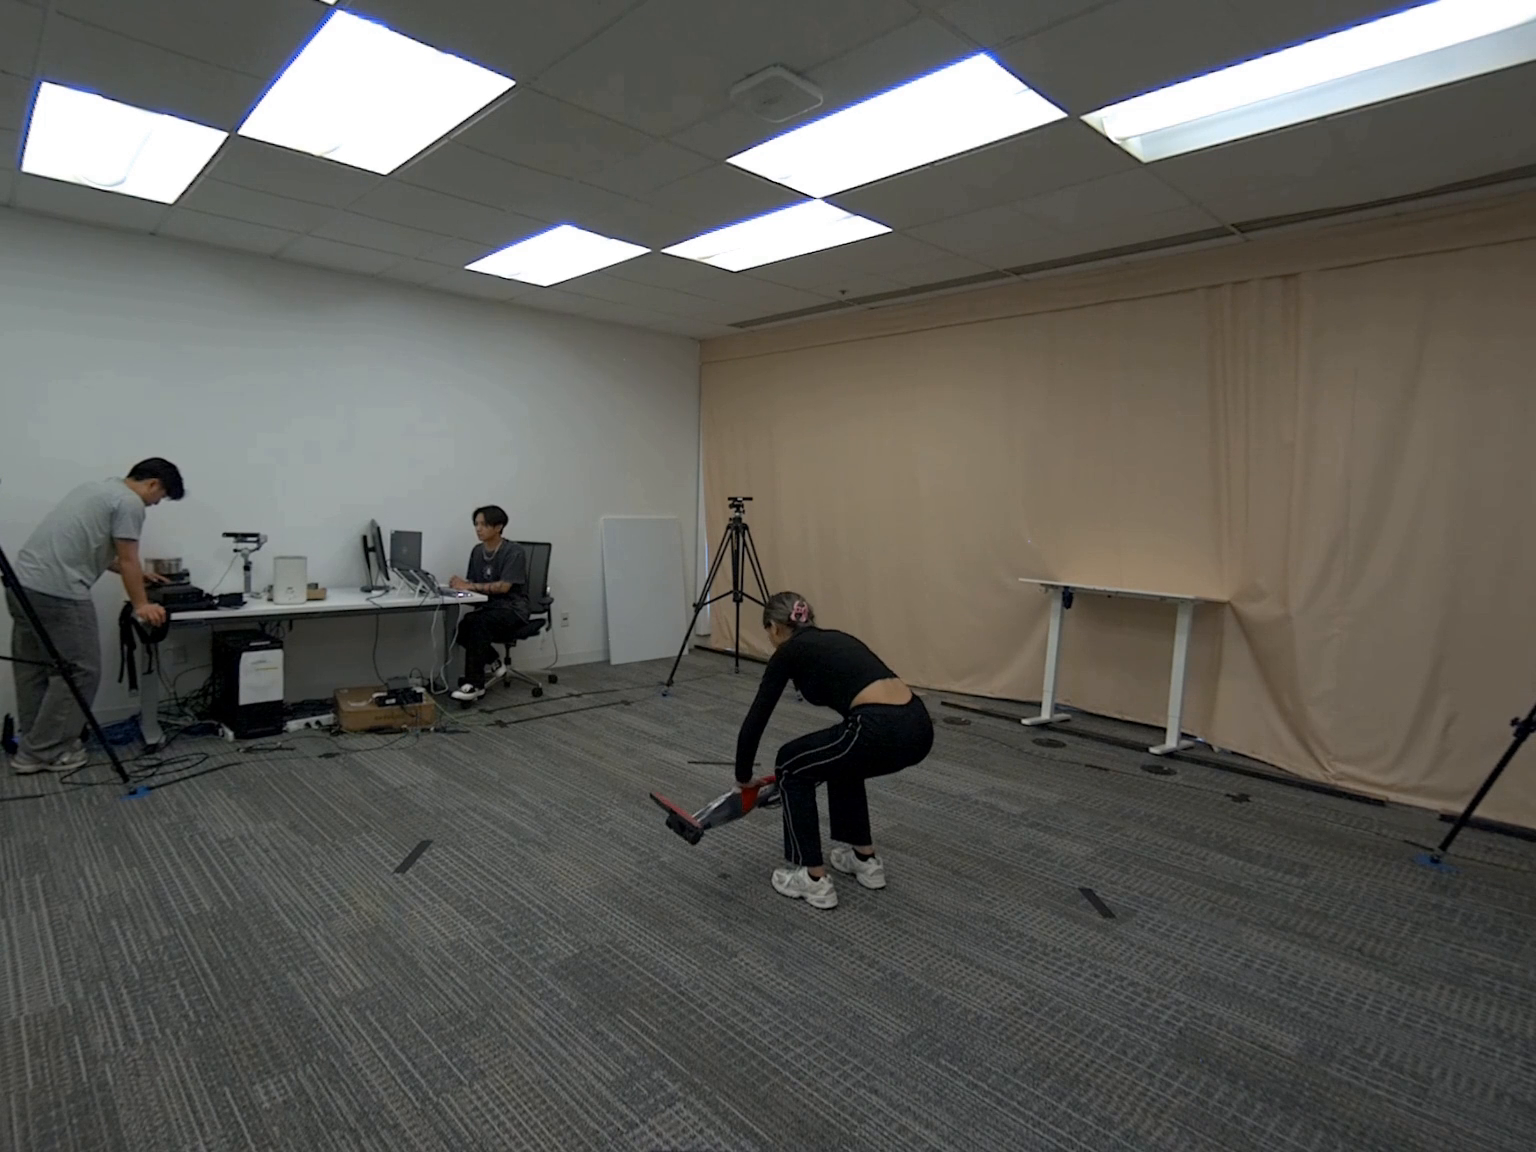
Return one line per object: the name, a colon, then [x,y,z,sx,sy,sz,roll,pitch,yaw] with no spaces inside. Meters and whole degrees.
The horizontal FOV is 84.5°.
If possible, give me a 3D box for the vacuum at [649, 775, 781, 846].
vacuum: [0.022,0.817,3.269,0.260,0.143,1.025,24,19,39]
